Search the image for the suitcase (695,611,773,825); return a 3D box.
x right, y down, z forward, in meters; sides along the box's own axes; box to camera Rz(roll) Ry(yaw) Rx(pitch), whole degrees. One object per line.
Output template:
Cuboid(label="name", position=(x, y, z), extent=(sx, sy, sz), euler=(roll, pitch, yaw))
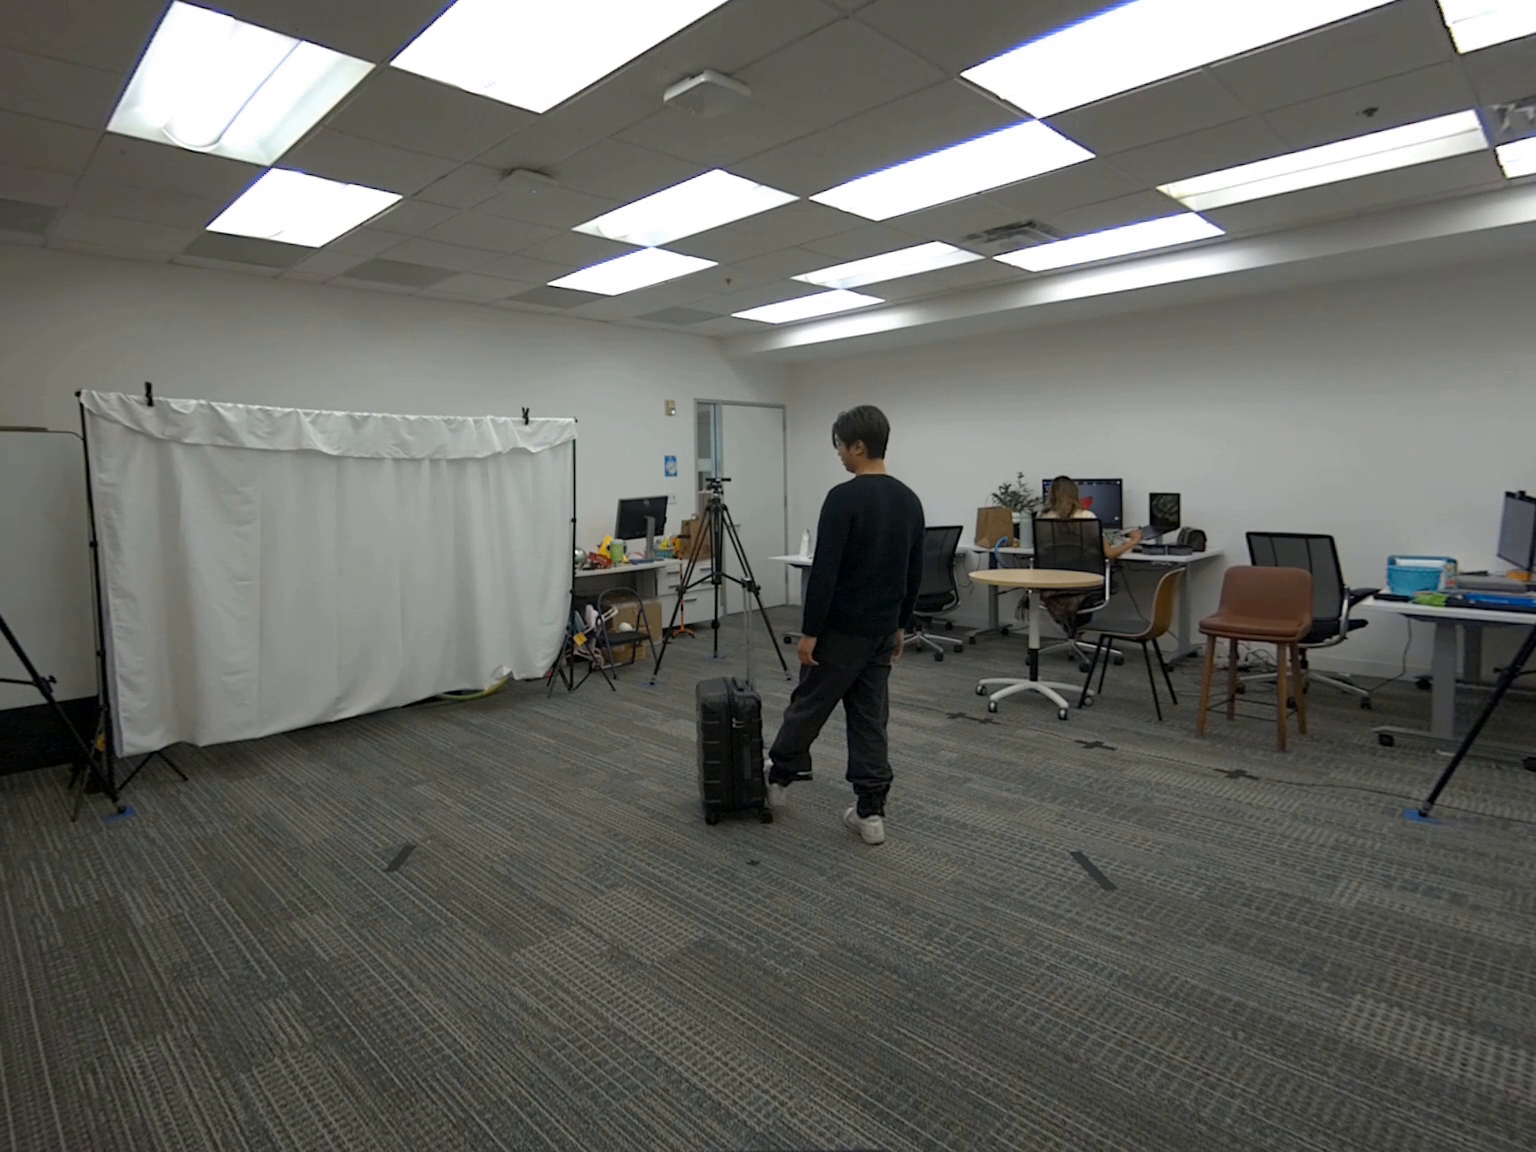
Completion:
Cuboid(label="suitcase", position=(-0.172, 0.514, 3.577), extent=(0.255, 0.975, 0.388), euler=(-4, 4, -9))
